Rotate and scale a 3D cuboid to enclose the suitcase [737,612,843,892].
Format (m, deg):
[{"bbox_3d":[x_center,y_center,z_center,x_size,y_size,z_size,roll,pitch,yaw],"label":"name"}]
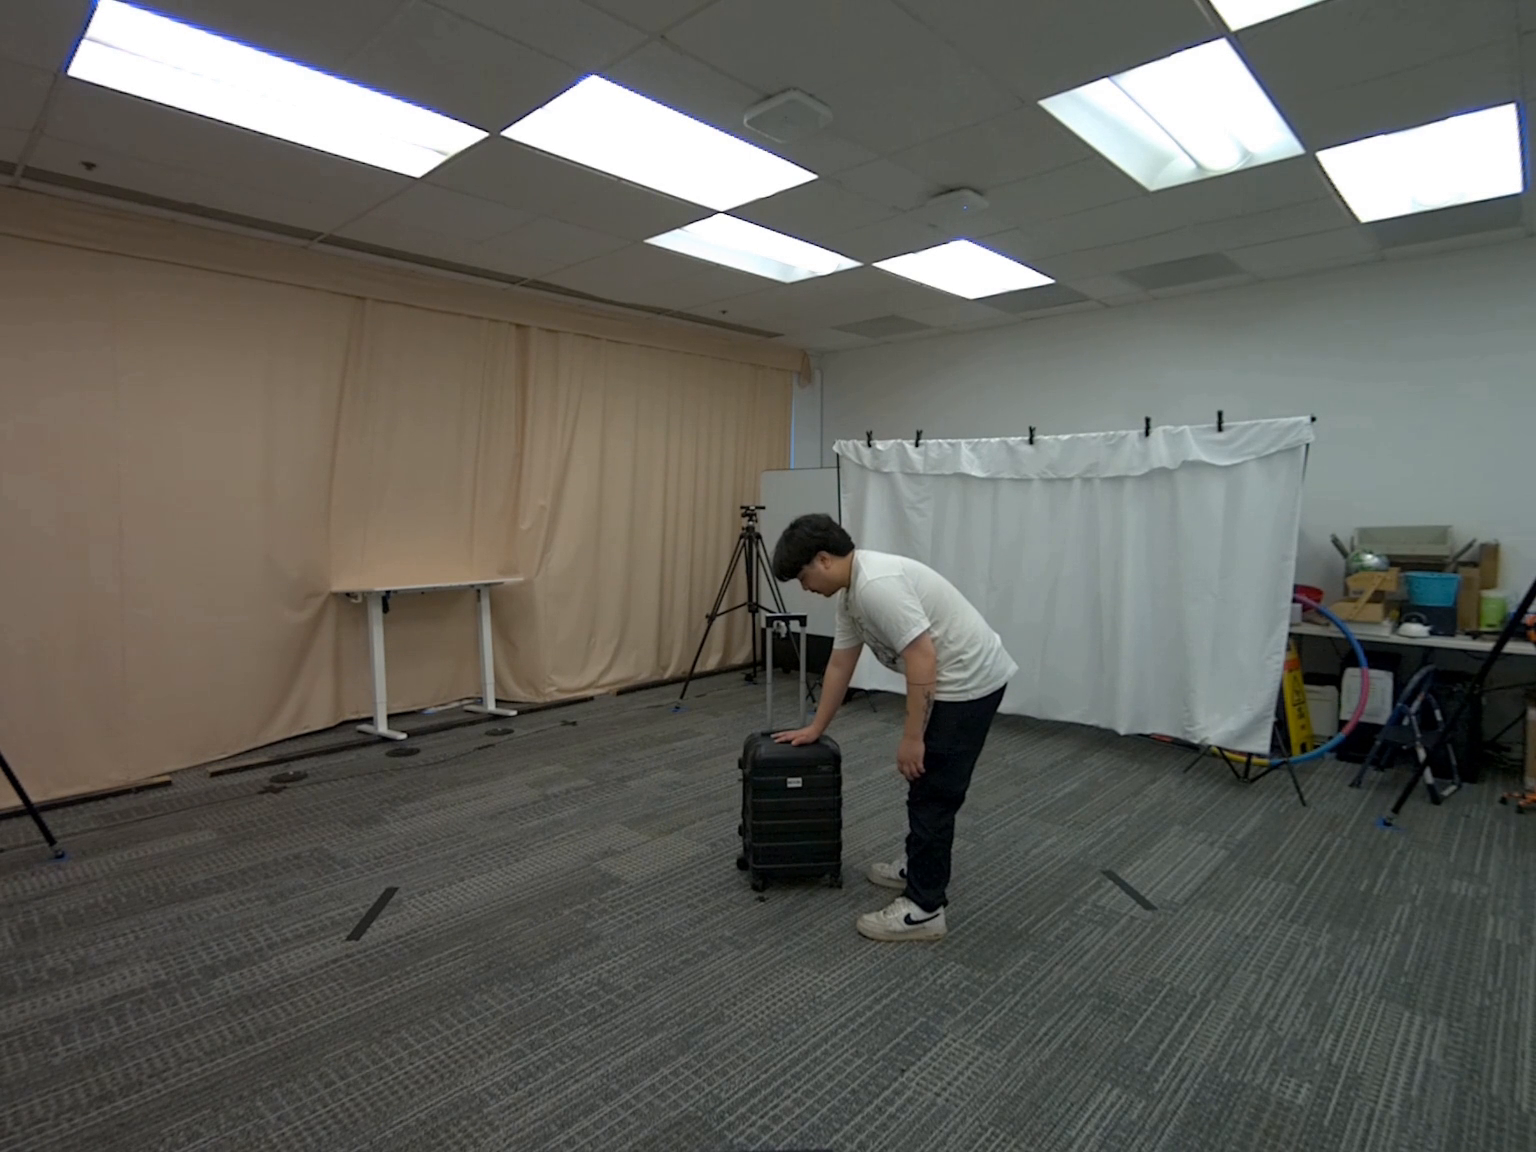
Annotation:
[{"bbox_3d":[0.091,0.660,3.116,0.382,0.975,0.259,0,6,-6],"label":"suitcase"}]
